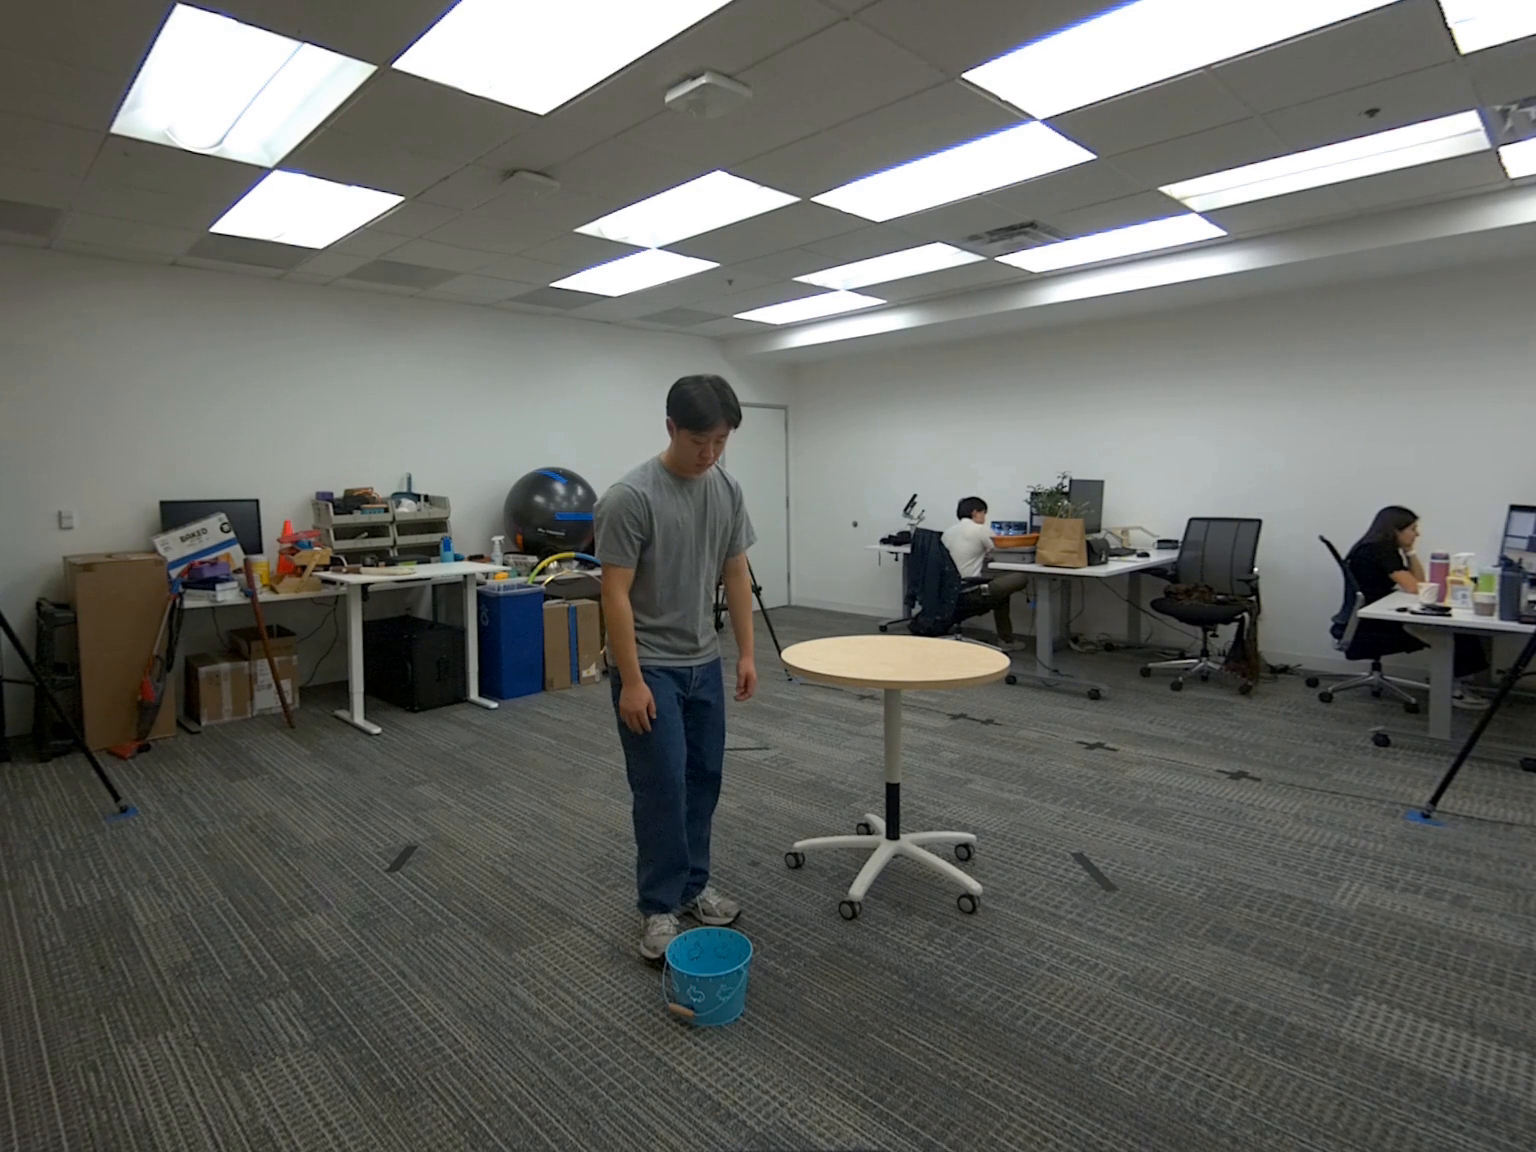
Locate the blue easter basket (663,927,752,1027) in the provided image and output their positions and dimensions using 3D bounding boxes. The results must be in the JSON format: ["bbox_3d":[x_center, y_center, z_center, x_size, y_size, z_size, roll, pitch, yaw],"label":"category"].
[{"bbox_3d":[-0.158,1.069,2.274,0.243,0.155,0.245,-2,6,-1],"label":"blue easter basket"}]
